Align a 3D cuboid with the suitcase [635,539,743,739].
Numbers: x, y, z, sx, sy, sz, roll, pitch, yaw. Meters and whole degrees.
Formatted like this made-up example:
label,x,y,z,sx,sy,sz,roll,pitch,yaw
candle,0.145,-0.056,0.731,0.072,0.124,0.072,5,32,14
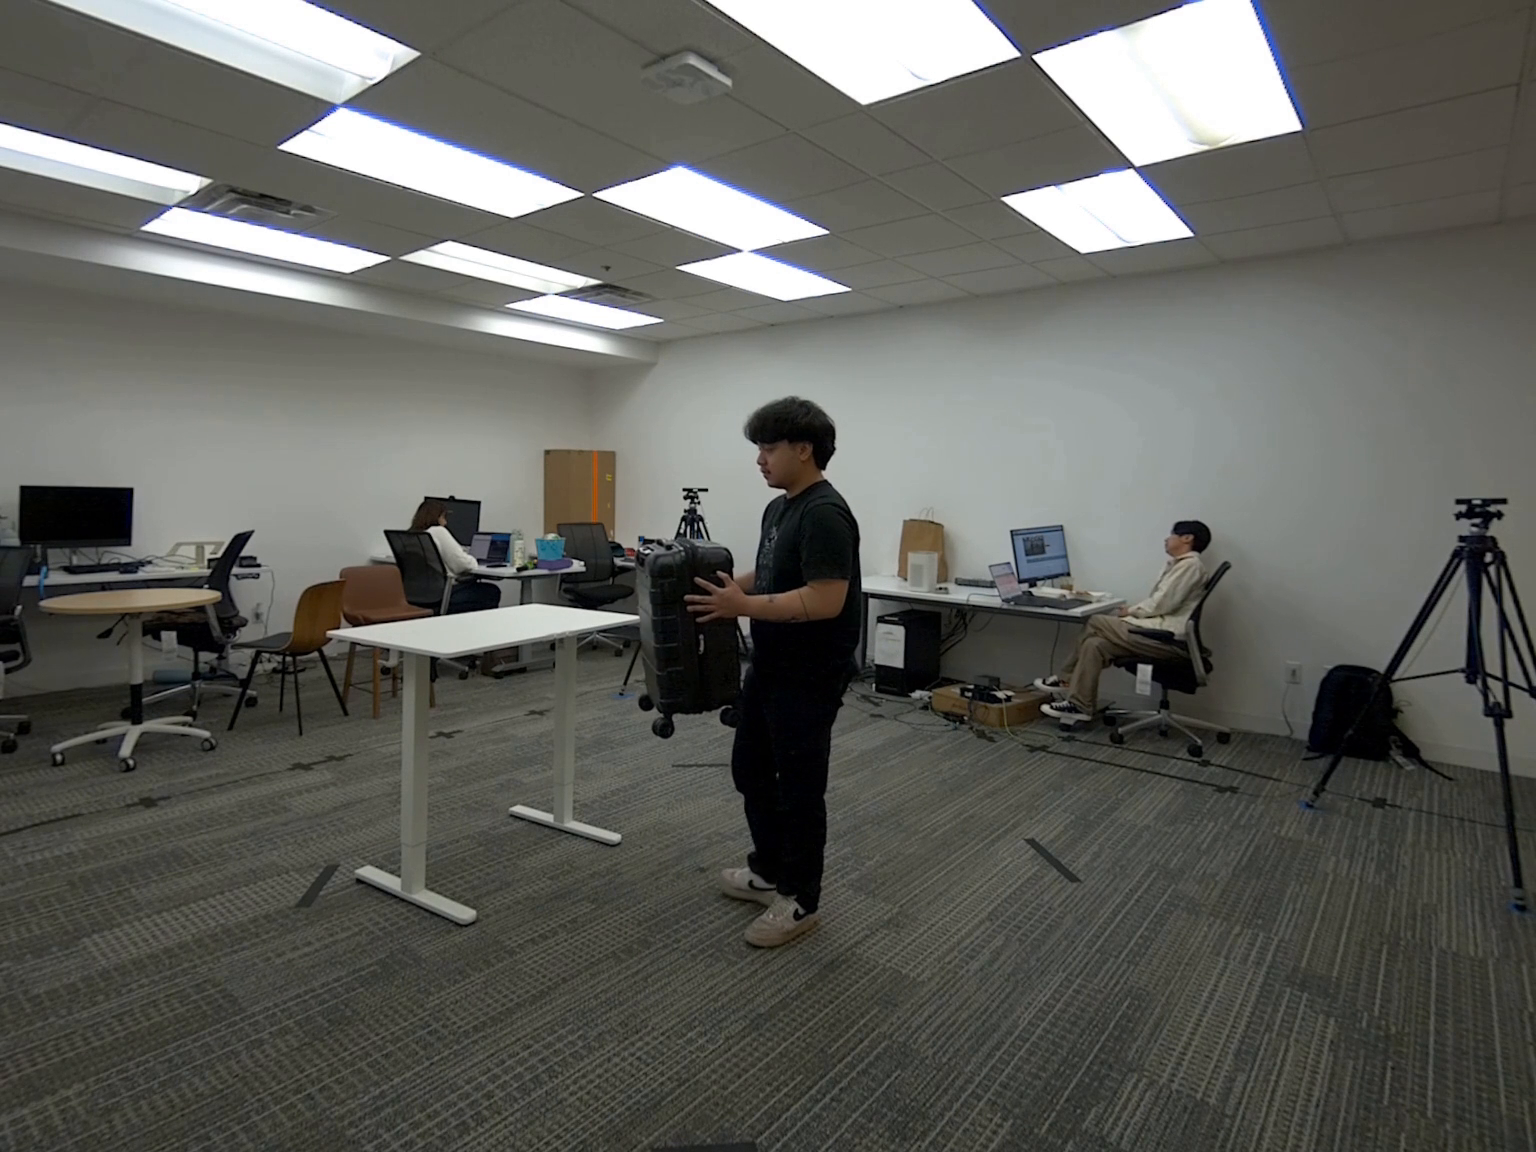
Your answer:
label,x,y,z,sx,sy,sz,roll,pitch,yaw
suitcase,-0.266,0.153,2.611,0.245,0.547,0.382,-5,5,-14
